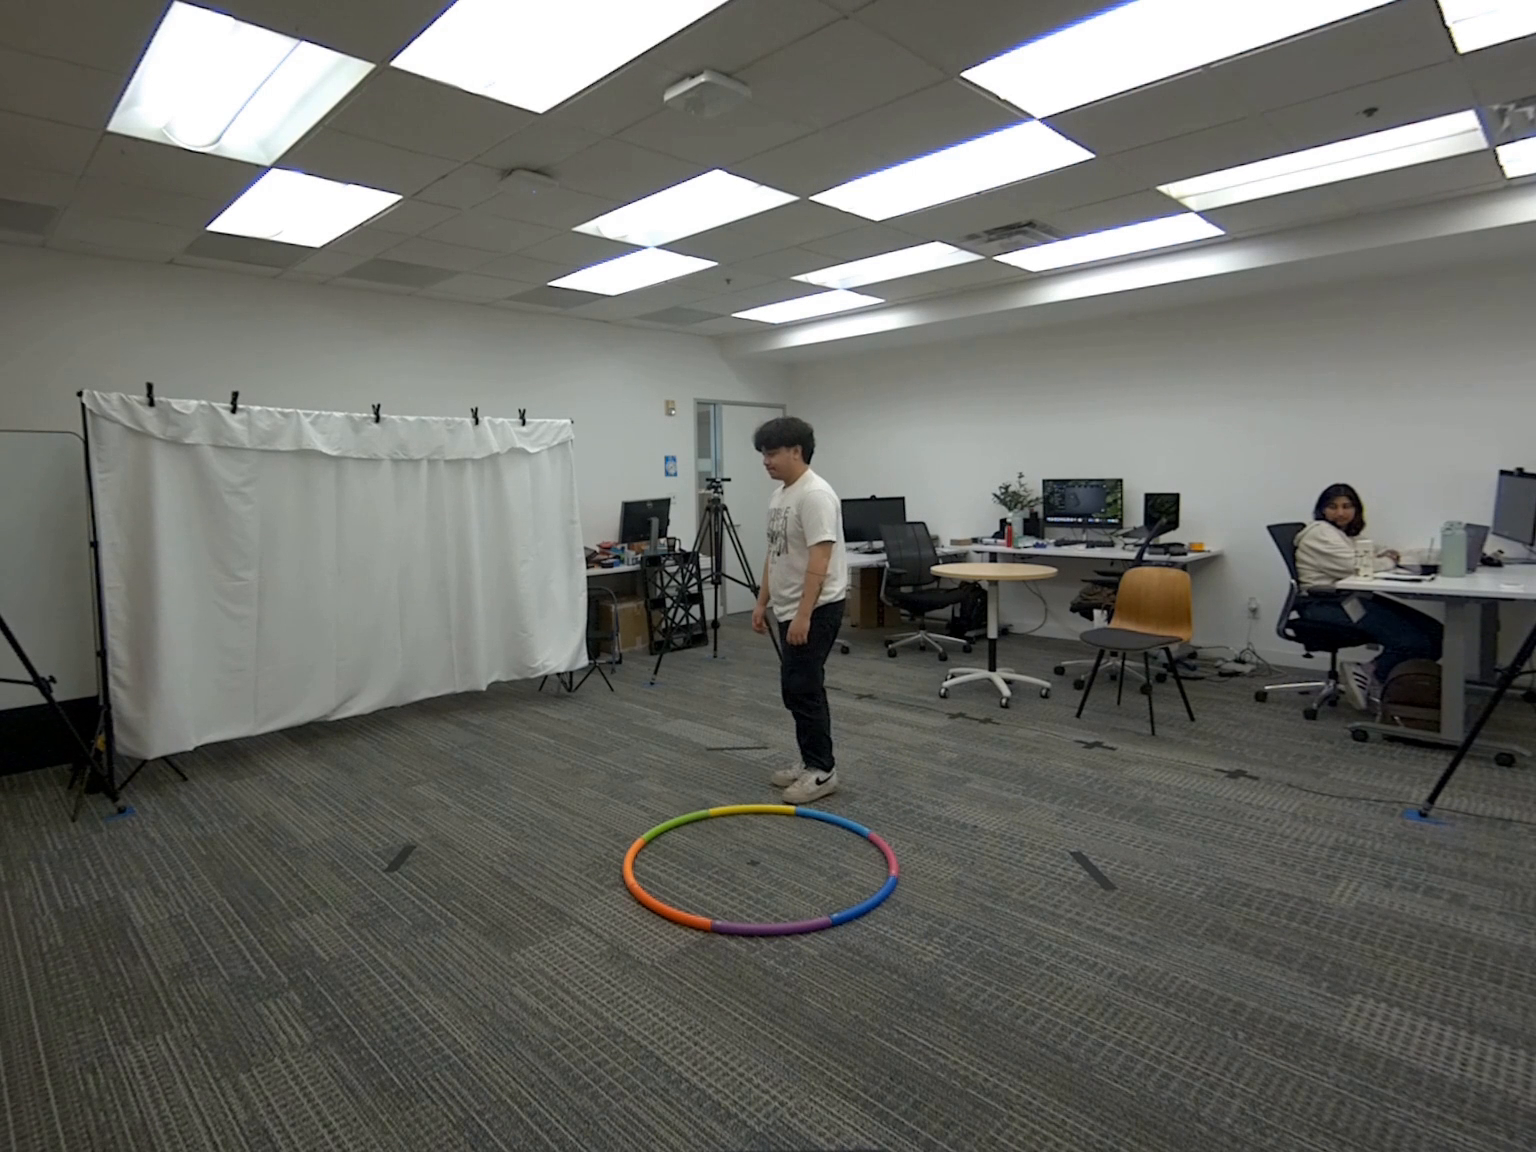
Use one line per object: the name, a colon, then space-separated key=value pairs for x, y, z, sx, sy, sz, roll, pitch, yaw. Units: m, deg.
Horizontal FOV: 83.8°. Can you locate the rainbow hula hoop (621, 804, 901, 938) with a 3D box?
rainbow hula hoop: x=-0.025 y=1.018 z=3.091 sx=0.985 sy=0.051 sz=0.991 roll=-1 pitch=7 yaw=-2
